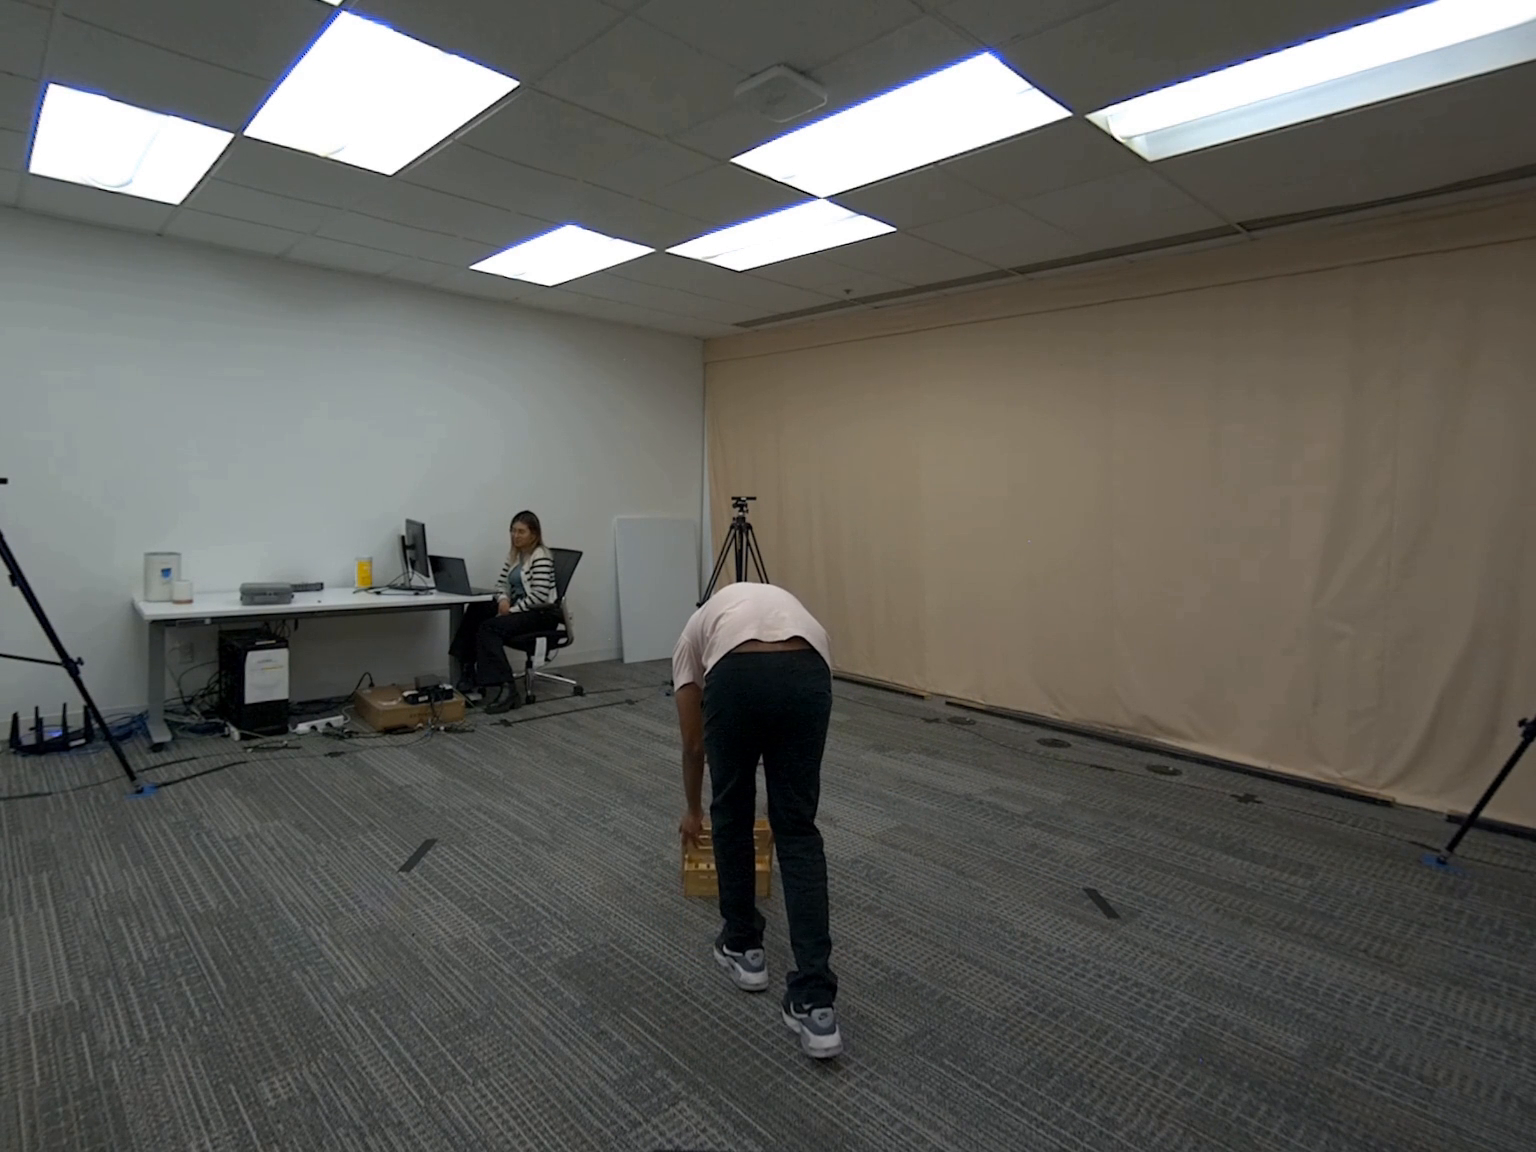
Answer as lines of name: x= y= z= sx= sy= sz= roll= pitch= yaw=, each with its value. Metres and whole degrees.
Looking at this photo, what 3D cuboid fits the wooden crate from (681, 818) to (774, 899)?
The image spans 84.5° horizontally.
wooden crate: x=-0.155 y=0.989 z=3.037 sx=0.324 sy=0.273 sz=0.303 roll=1 pitch=2 yaw=-2
